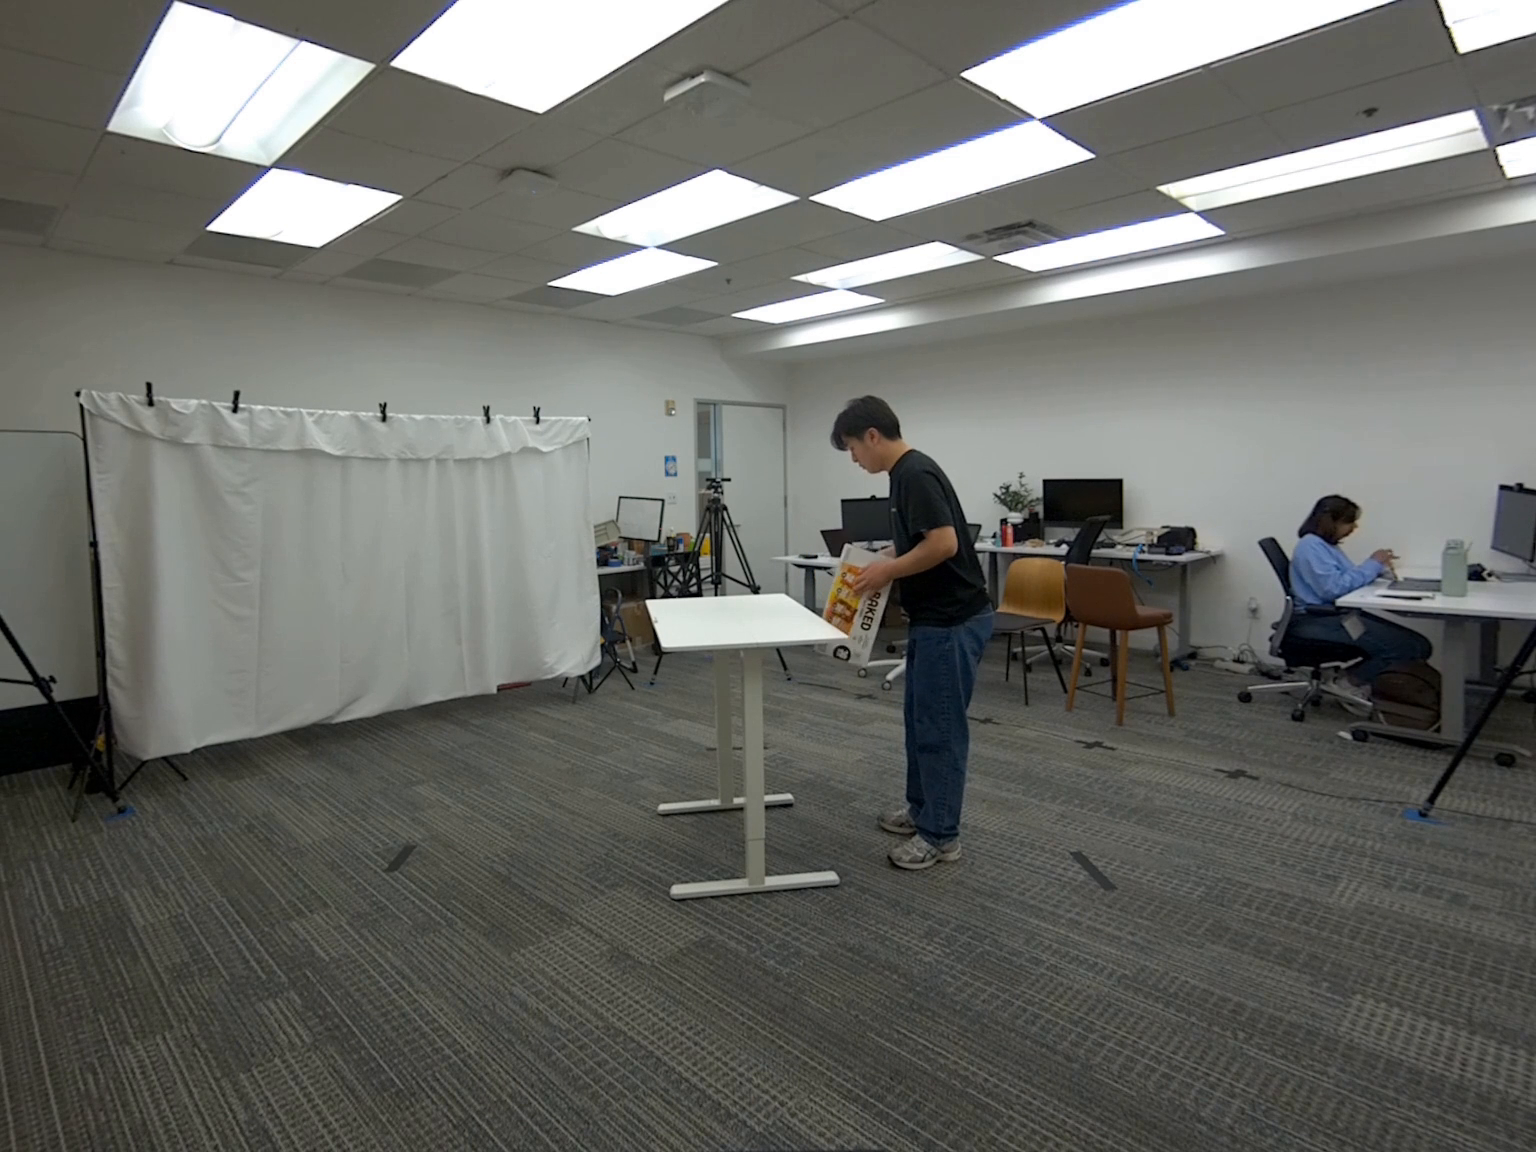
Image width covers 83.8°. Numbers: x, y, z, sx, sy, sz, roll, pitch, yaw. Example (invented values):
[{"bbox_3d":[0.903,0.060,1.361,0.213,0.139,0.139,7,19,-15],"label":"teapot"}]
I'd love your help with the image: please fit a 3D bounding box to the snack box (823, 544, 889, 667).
[{"bbox_3d":[0.347,0.097,3.259,0.208,0.404,0.338,16,5,8],"label":"snack box"}]
